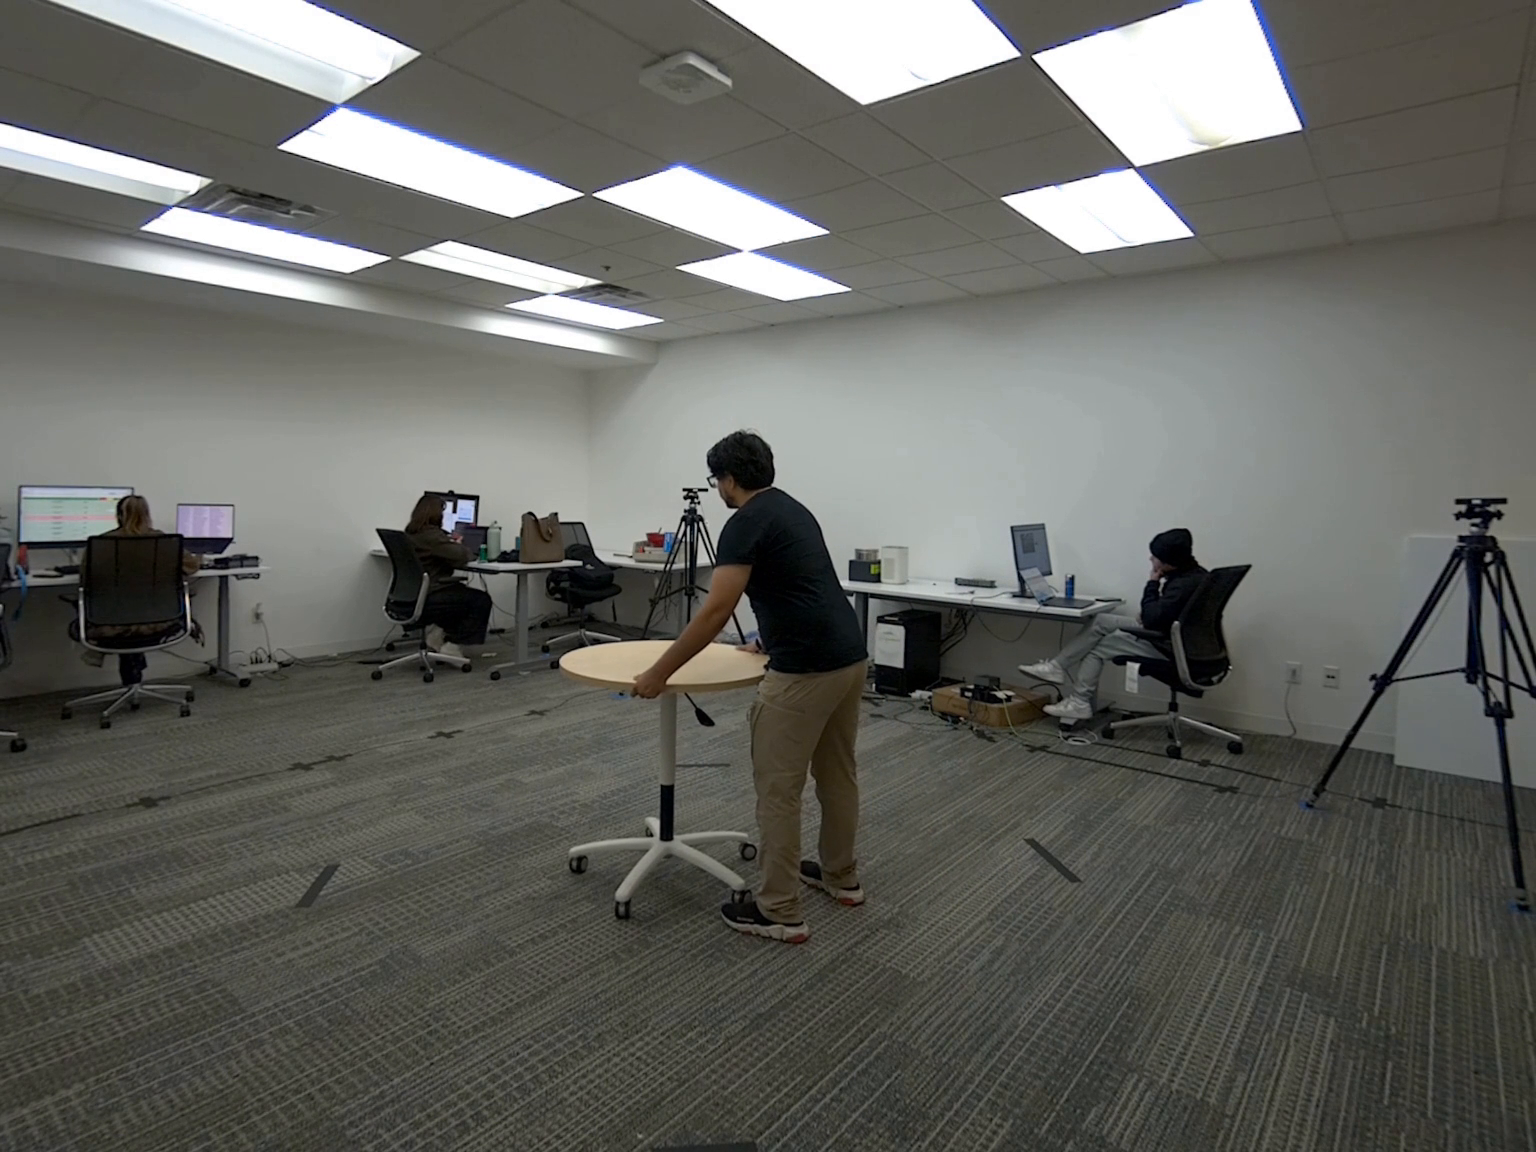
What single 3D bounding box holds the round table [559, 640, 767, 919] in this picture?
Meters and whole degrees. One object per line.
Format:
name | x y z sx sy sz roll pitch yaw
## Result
round table | -0.374 0.681 3.011 0.784 0.784 0.789 1 4 -2
